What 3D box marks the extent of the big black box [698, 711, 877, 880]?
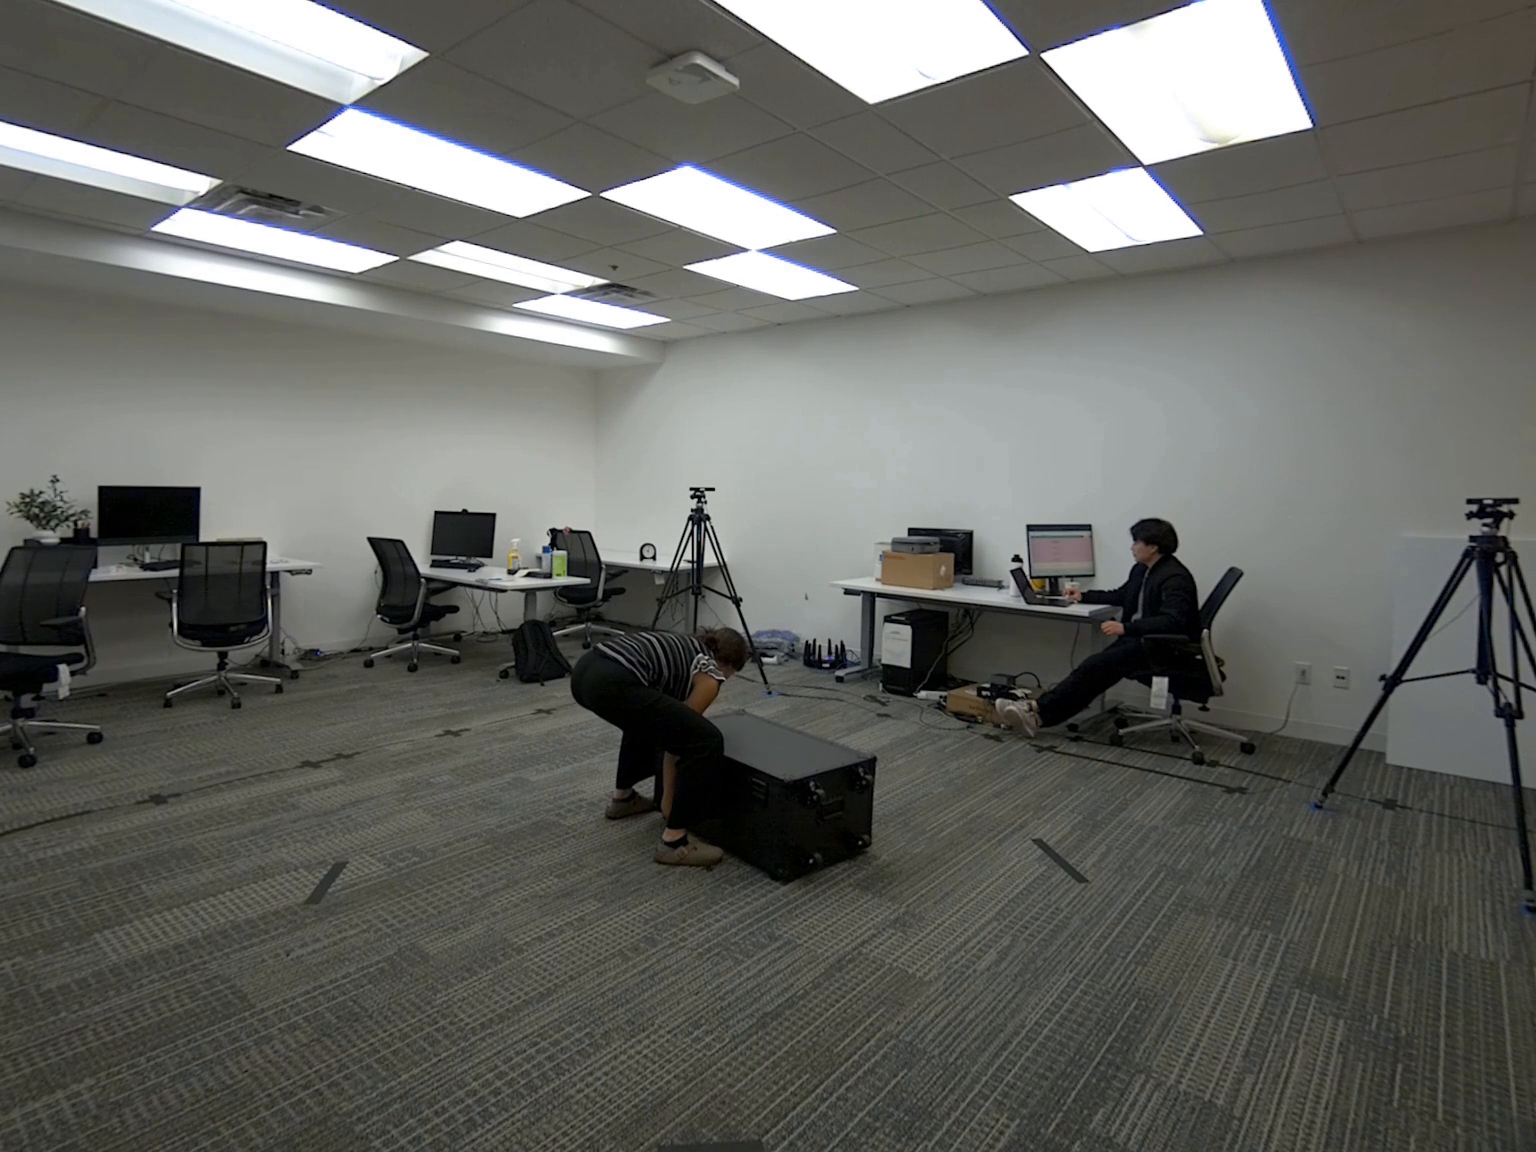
[{"bbox_3d":[-0.012,0.852,3.392,0.505,0.395,0.891,-3,6,-42],"label":"big black box"}]
